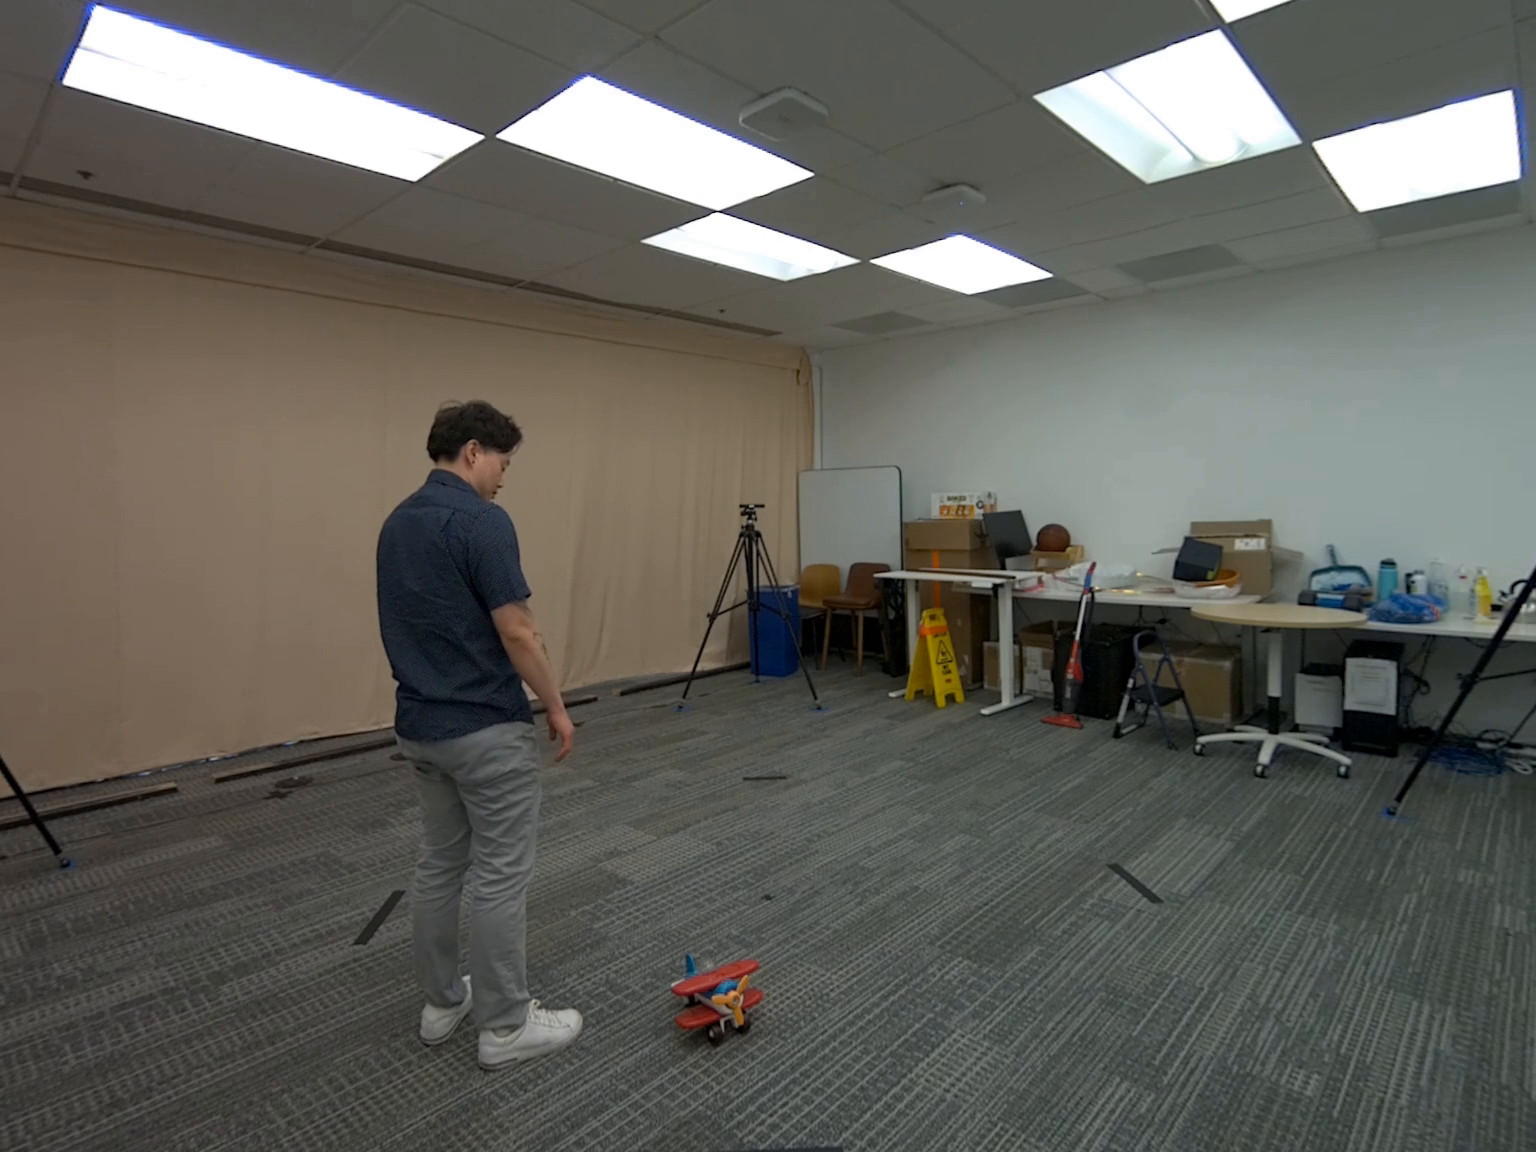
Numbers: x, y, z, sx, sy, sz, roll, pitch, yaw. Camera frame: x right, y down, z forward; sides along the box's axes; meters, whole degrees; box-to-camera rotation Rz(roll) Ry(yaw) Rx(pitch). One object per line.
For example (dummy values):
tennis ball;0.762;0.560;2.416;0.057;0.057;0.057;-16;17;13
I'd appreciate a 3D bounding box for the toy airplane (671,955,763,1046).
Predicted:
toy airplane;-0.162;1.132;2.258;0.266;0.156;0.245;2;6;29
